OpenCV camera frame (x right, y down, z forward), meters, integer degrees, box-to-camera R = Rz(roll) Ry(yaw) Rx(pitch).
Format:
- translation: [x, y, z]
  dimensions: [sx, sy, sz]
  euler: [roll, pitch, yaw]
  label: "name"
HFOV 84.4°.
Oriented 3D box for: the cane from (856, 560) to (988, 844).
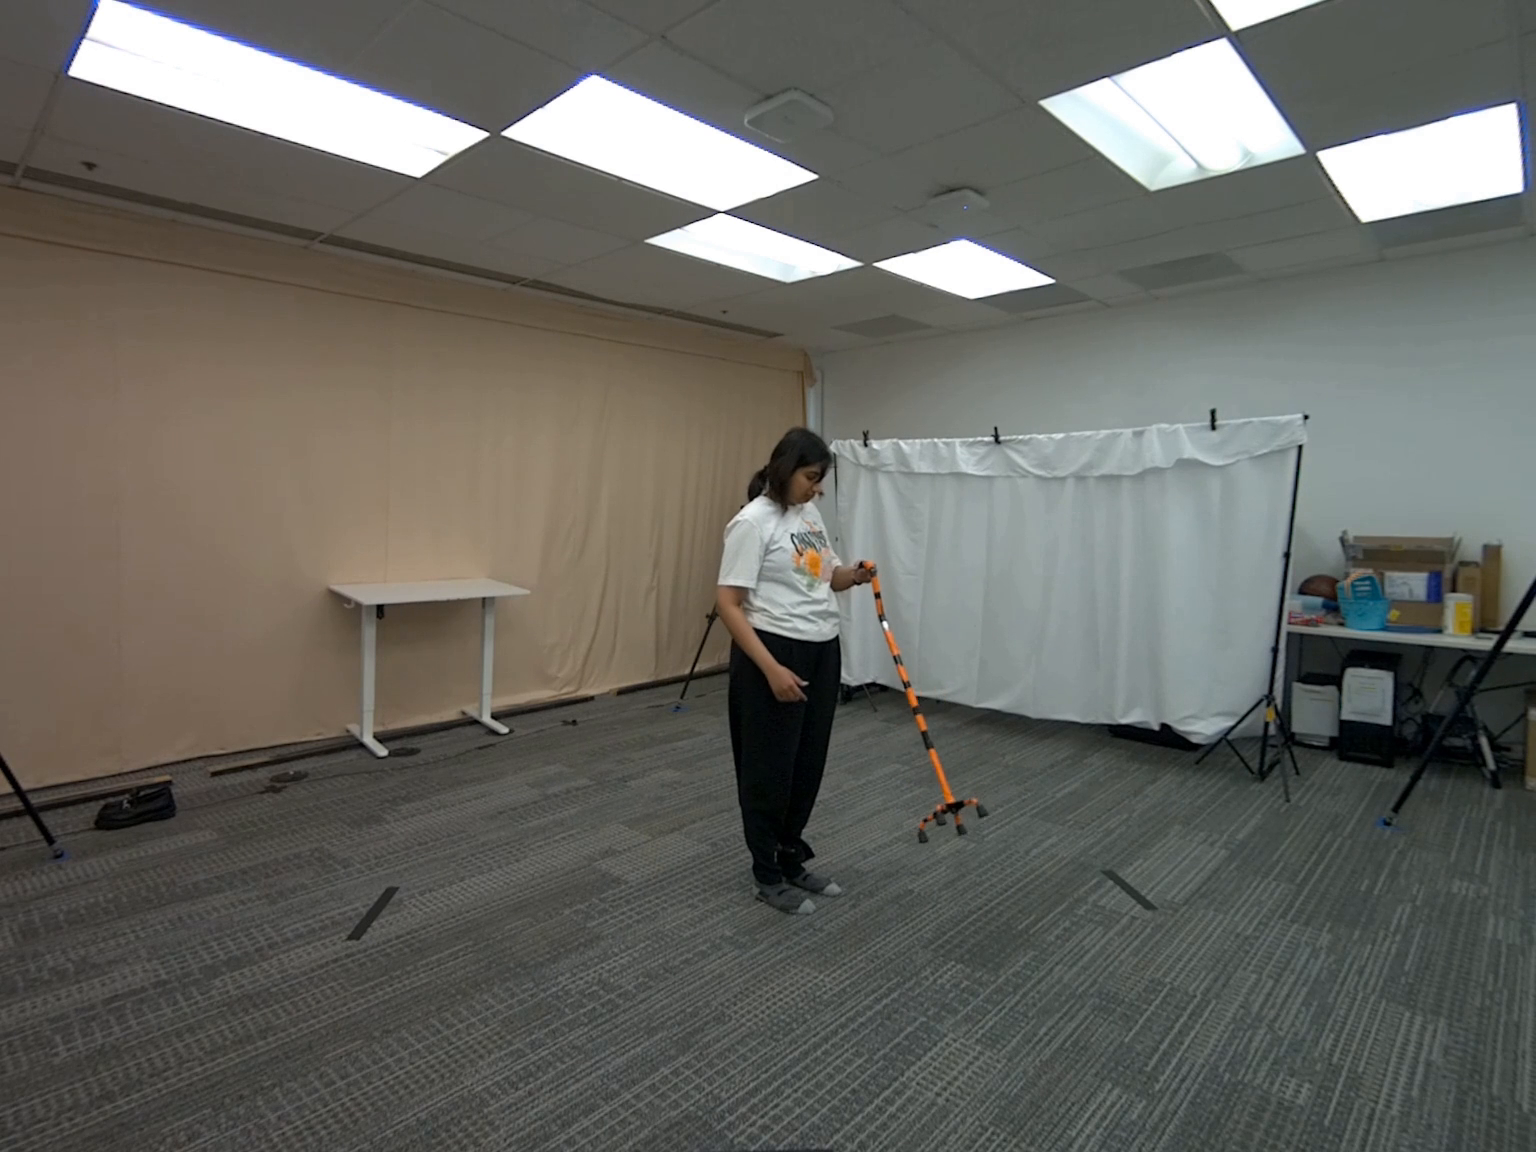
- translation: [0.425, 0.353, 2.629]
  dimensions: [0.149, 0.929, 0.205]
  euler: [-5, -32, -19]
  label: "cane"
